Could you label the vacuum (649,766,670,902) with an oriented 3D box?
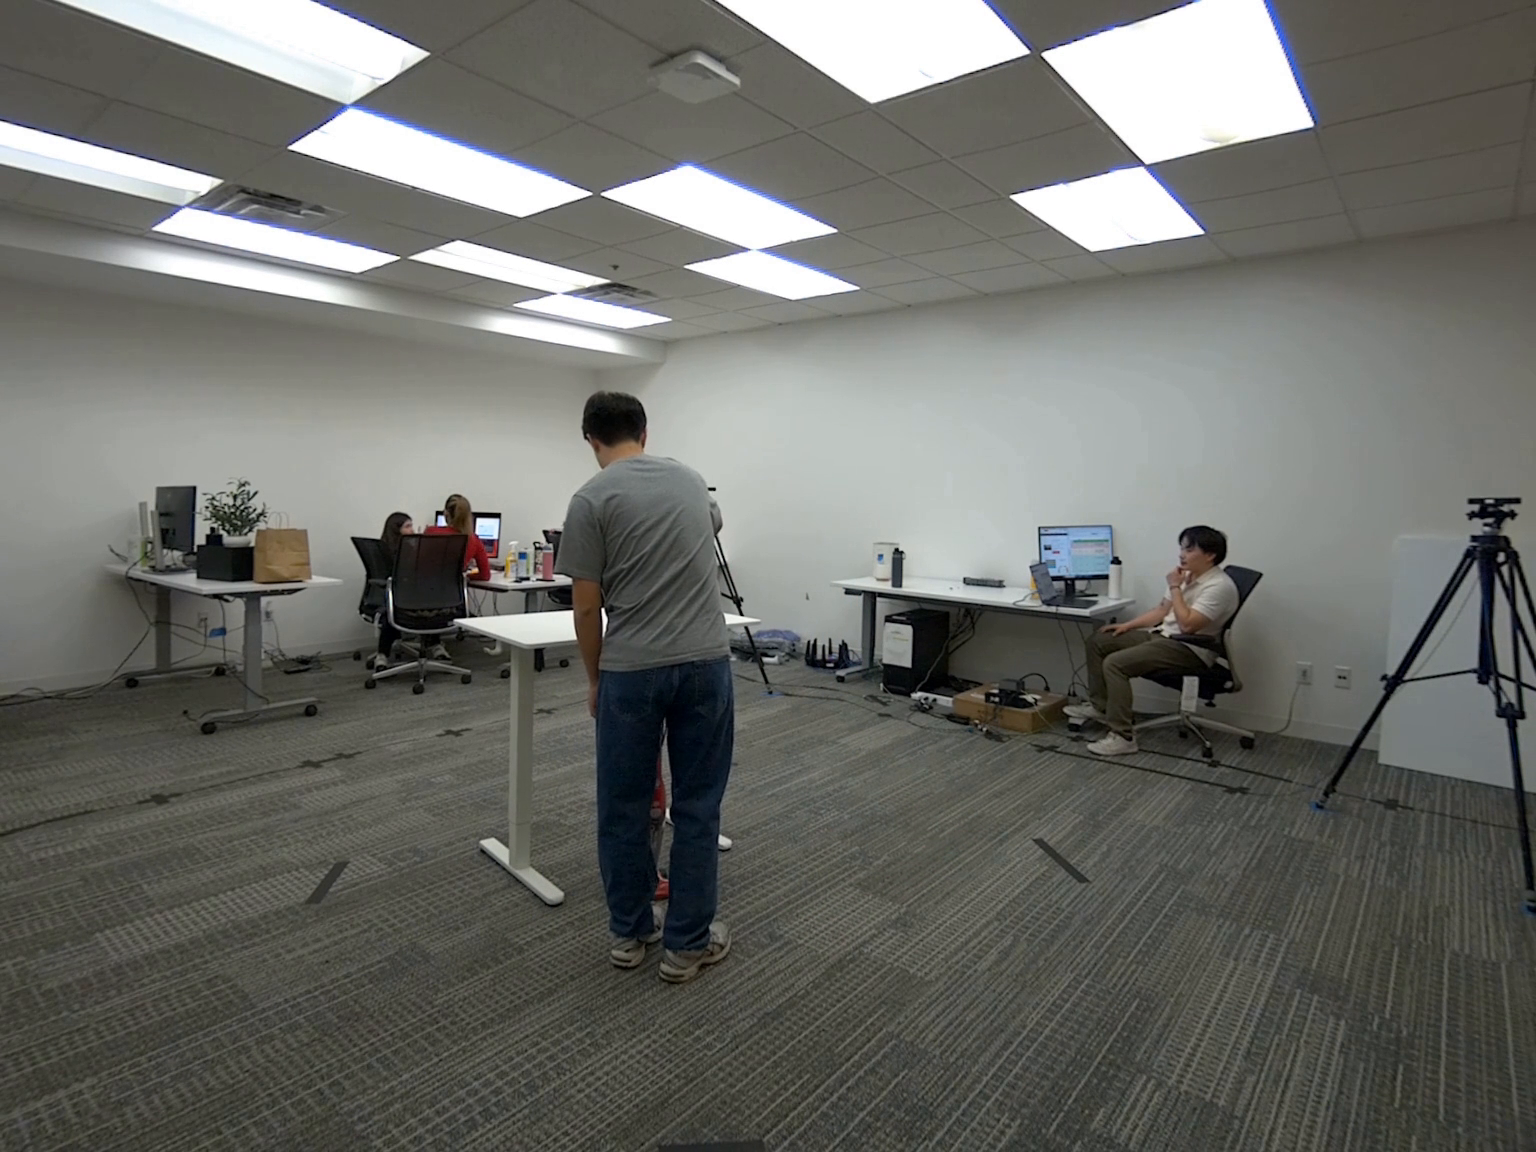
[{"bbox_3d":[-0.410,0.557,2.943,0.248,1.053,0.146,3,-4,-16],"label":"vacuum"}]
